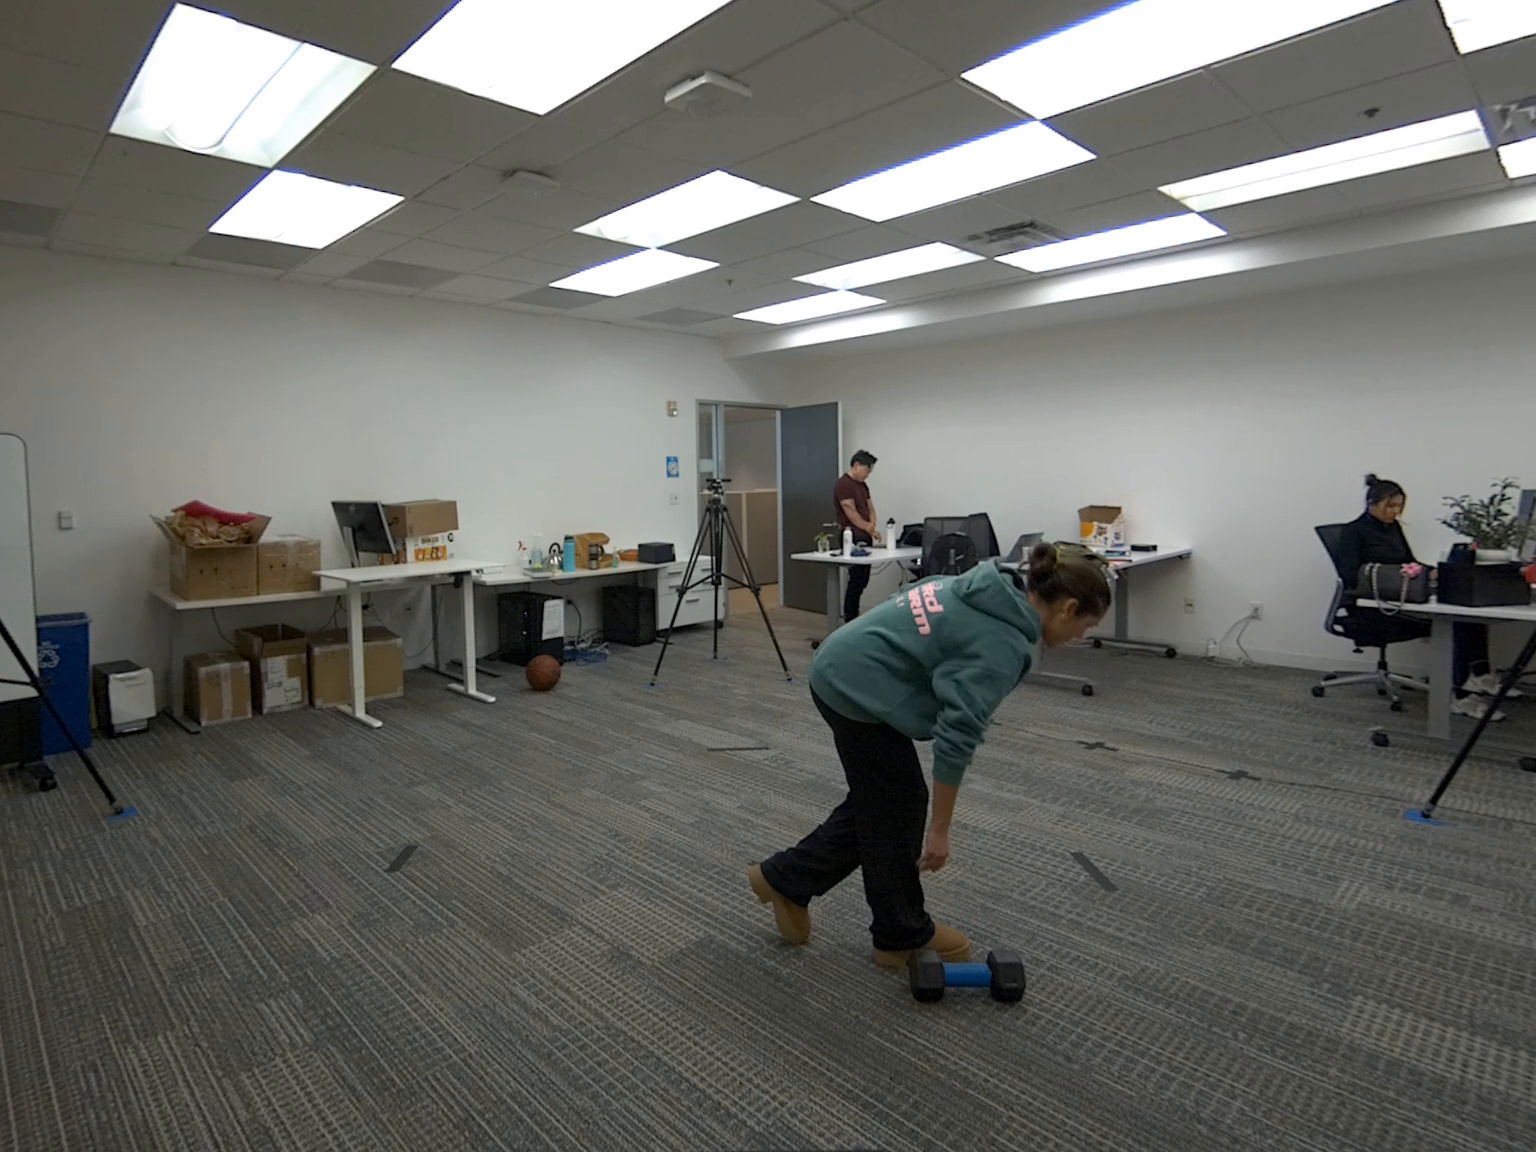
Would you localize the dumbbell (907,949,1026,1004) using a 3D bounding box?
[{"bbox_3d":[0.540,1.076,2.289,0.294,0.120,0.111,-1,33,3],"label":"dumbbell"}]
